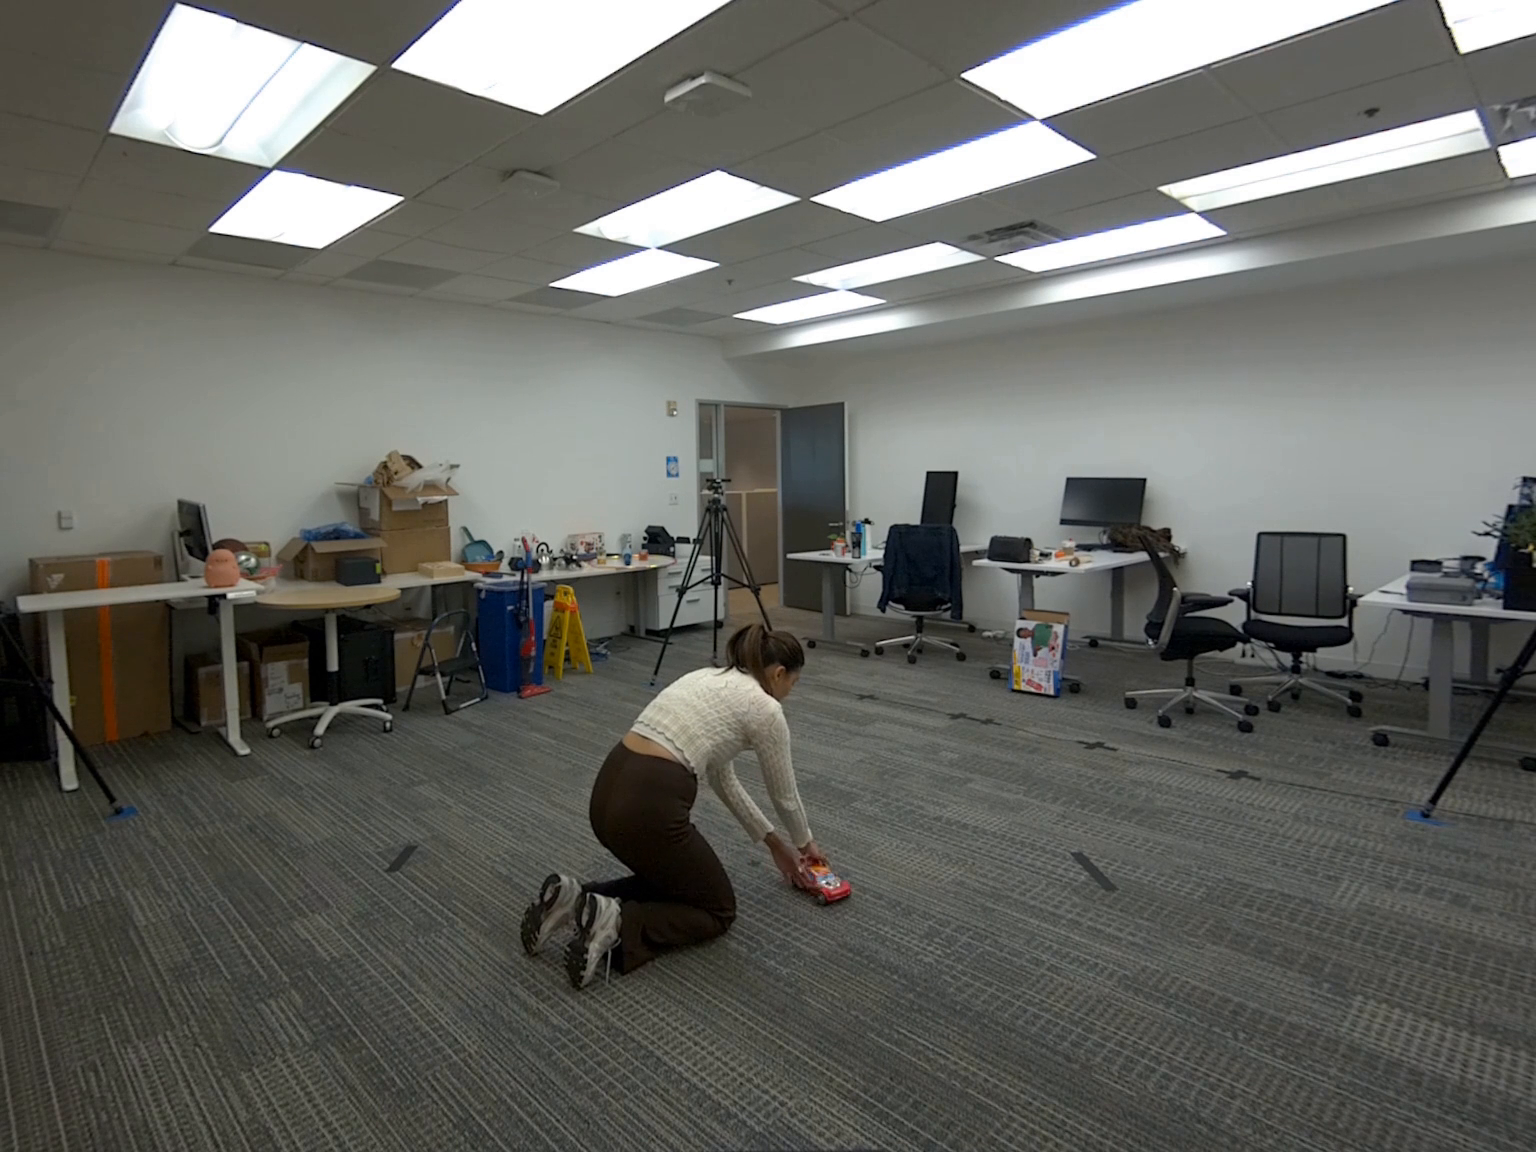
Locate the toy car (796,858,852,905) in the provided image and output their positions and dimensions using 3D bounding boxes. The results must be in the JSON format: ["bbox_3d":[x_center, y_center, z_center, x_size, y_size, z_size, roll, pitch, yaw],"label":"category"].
[{"bbox_3d":[0.159,1.031,2.899,0.127,0.082,0.263,-5,17,-32],"label":"toy car"}]
